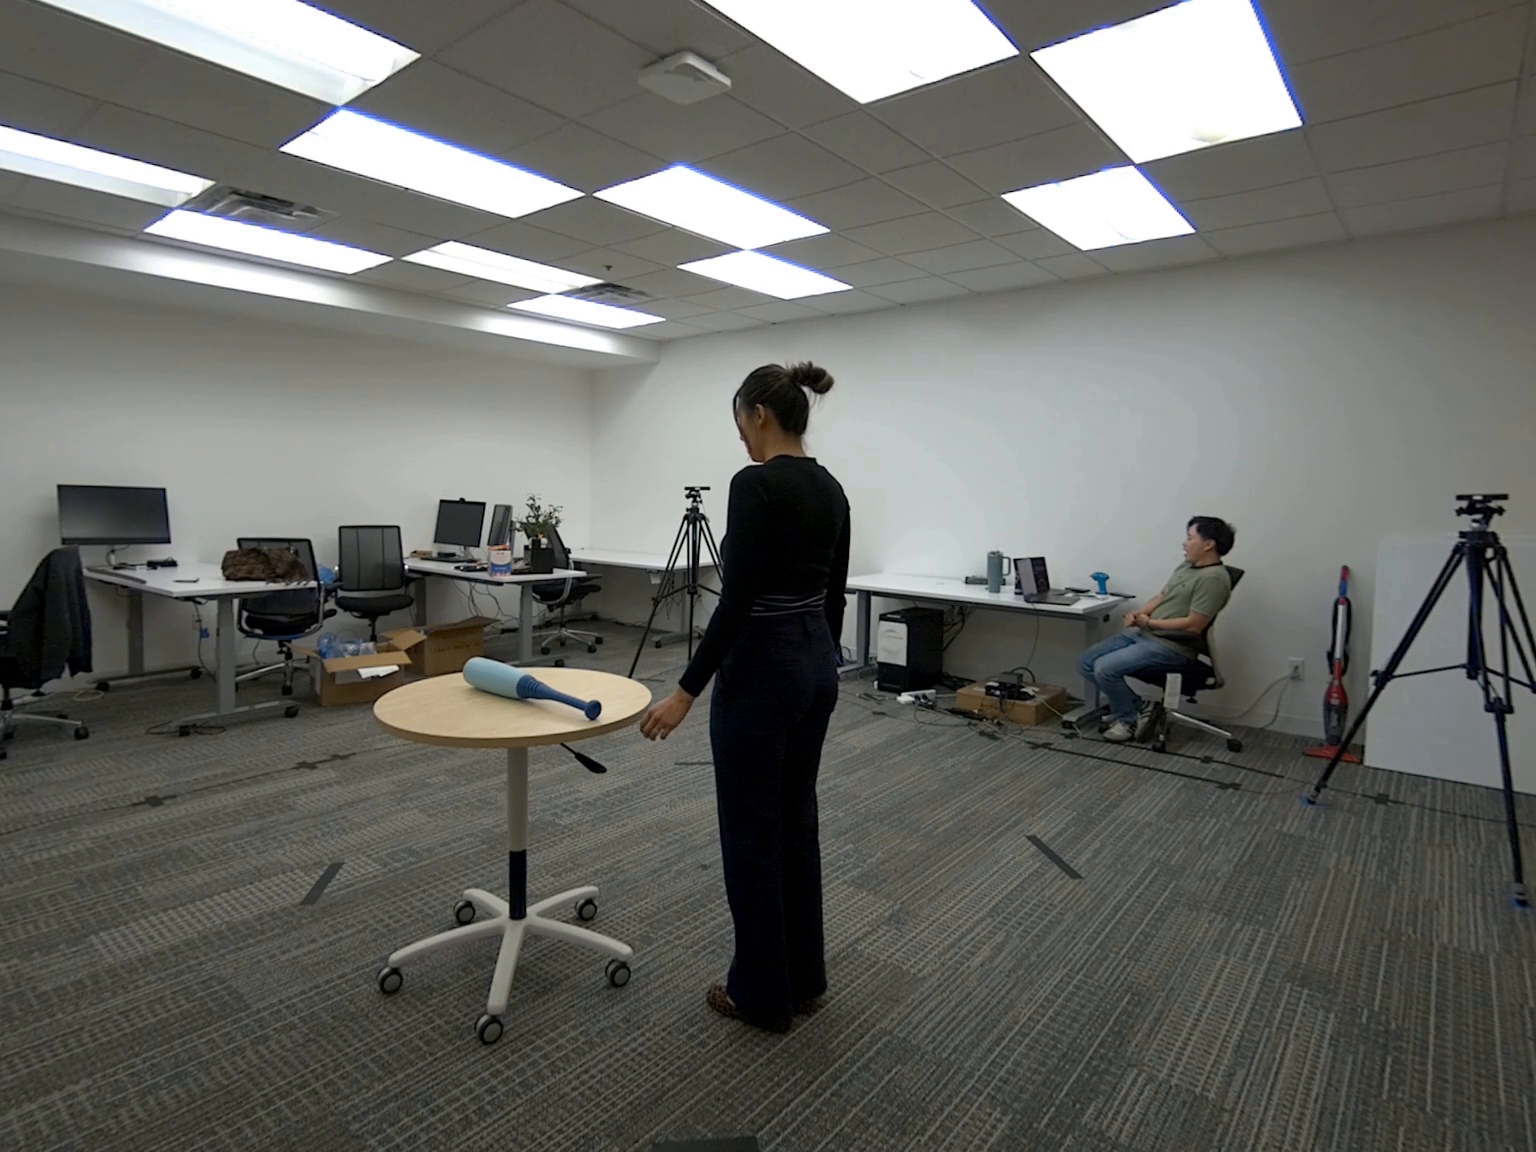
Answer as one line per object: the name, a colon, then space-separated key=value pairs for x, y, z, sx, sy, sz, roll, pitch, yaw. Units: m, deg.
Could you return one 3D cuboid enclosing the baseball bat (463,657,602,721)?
baseball bat: x=-0.673 y=0.315 z=2.367 sx=0.562 sy=0.088 sz=0.086 roll=8 pitch=8 yaw=38
